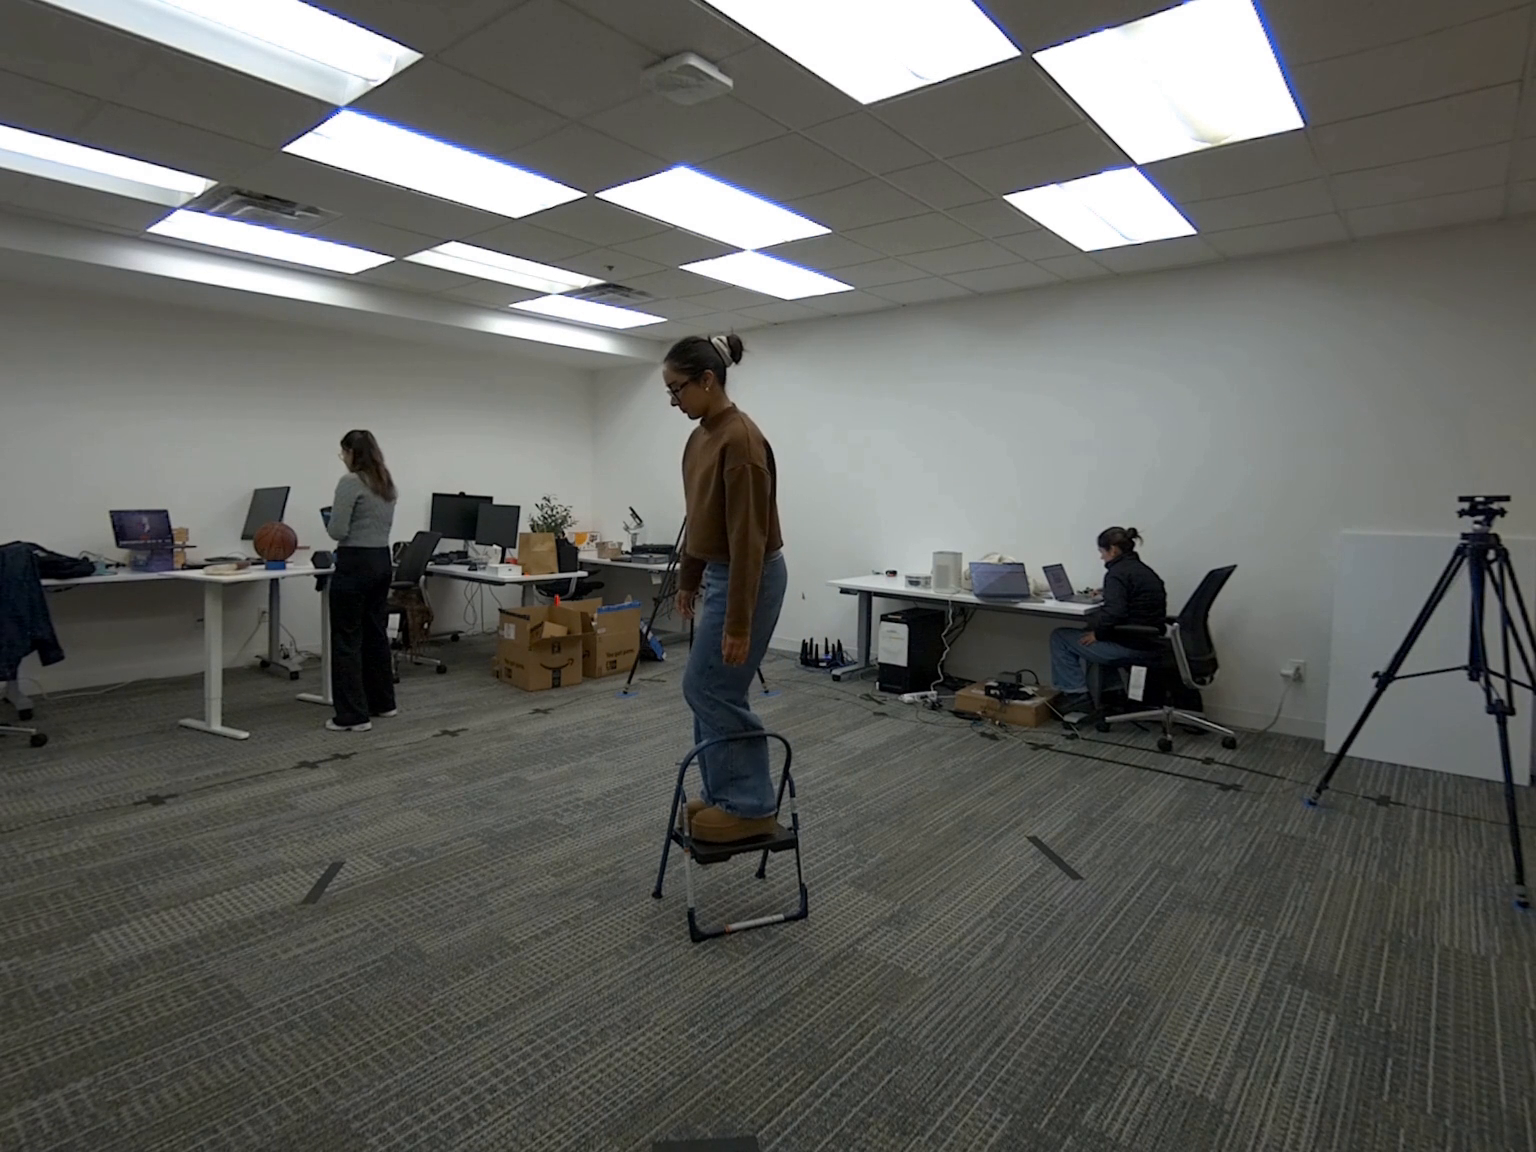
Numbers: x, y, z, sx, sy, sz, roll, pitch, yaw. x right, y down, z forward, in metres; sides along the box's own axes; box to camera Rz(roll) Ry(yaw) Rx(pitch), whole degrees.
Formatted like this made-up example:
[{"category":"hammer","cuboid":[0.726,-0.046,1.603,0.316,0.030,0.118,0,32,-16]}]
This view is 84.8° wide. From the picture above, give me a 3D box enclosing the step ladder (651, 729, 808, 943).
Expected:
[{"category":"step ladder","cuboid":[-0.131,0.797,2.815,0.420,0.604,0.359,-1,4,-27]}]
